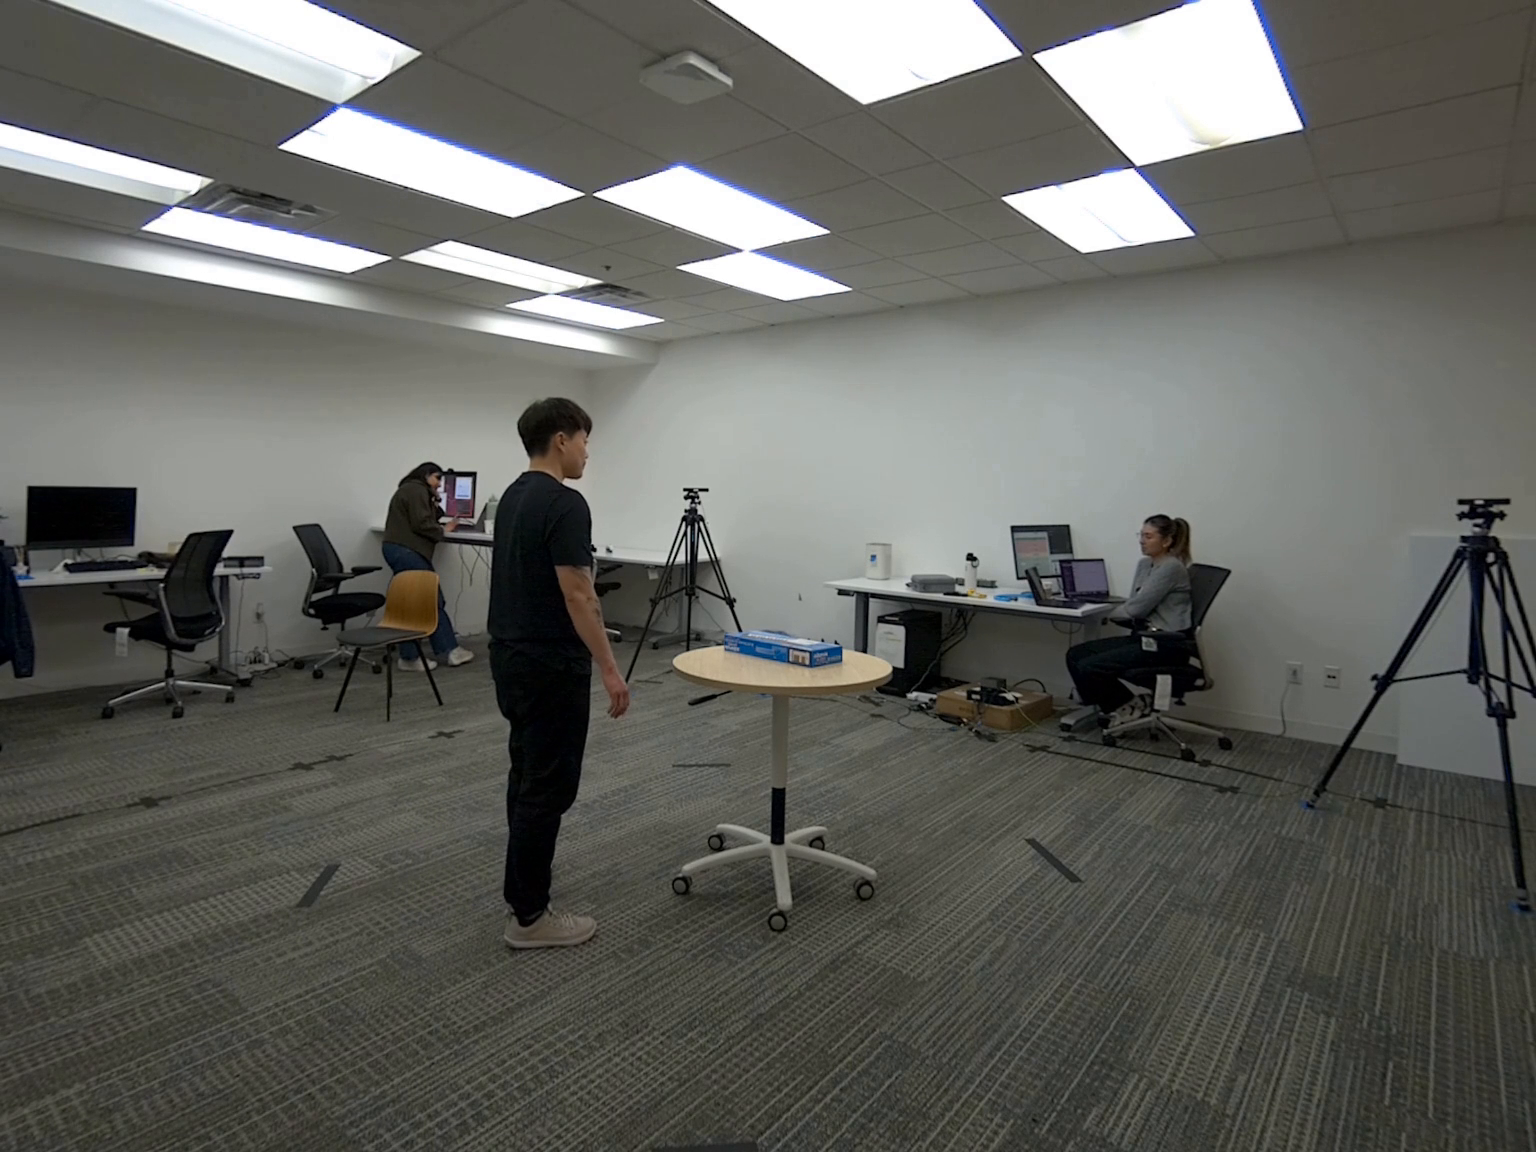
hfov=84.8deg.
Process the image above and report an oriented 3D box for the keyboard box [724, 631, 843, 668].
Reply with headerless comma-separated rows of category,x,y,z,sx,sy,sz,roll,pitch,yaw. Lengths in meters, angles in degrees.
keyboard box,0.044,0.263,3.118,0.452,0.059,0.171,7,8,45
